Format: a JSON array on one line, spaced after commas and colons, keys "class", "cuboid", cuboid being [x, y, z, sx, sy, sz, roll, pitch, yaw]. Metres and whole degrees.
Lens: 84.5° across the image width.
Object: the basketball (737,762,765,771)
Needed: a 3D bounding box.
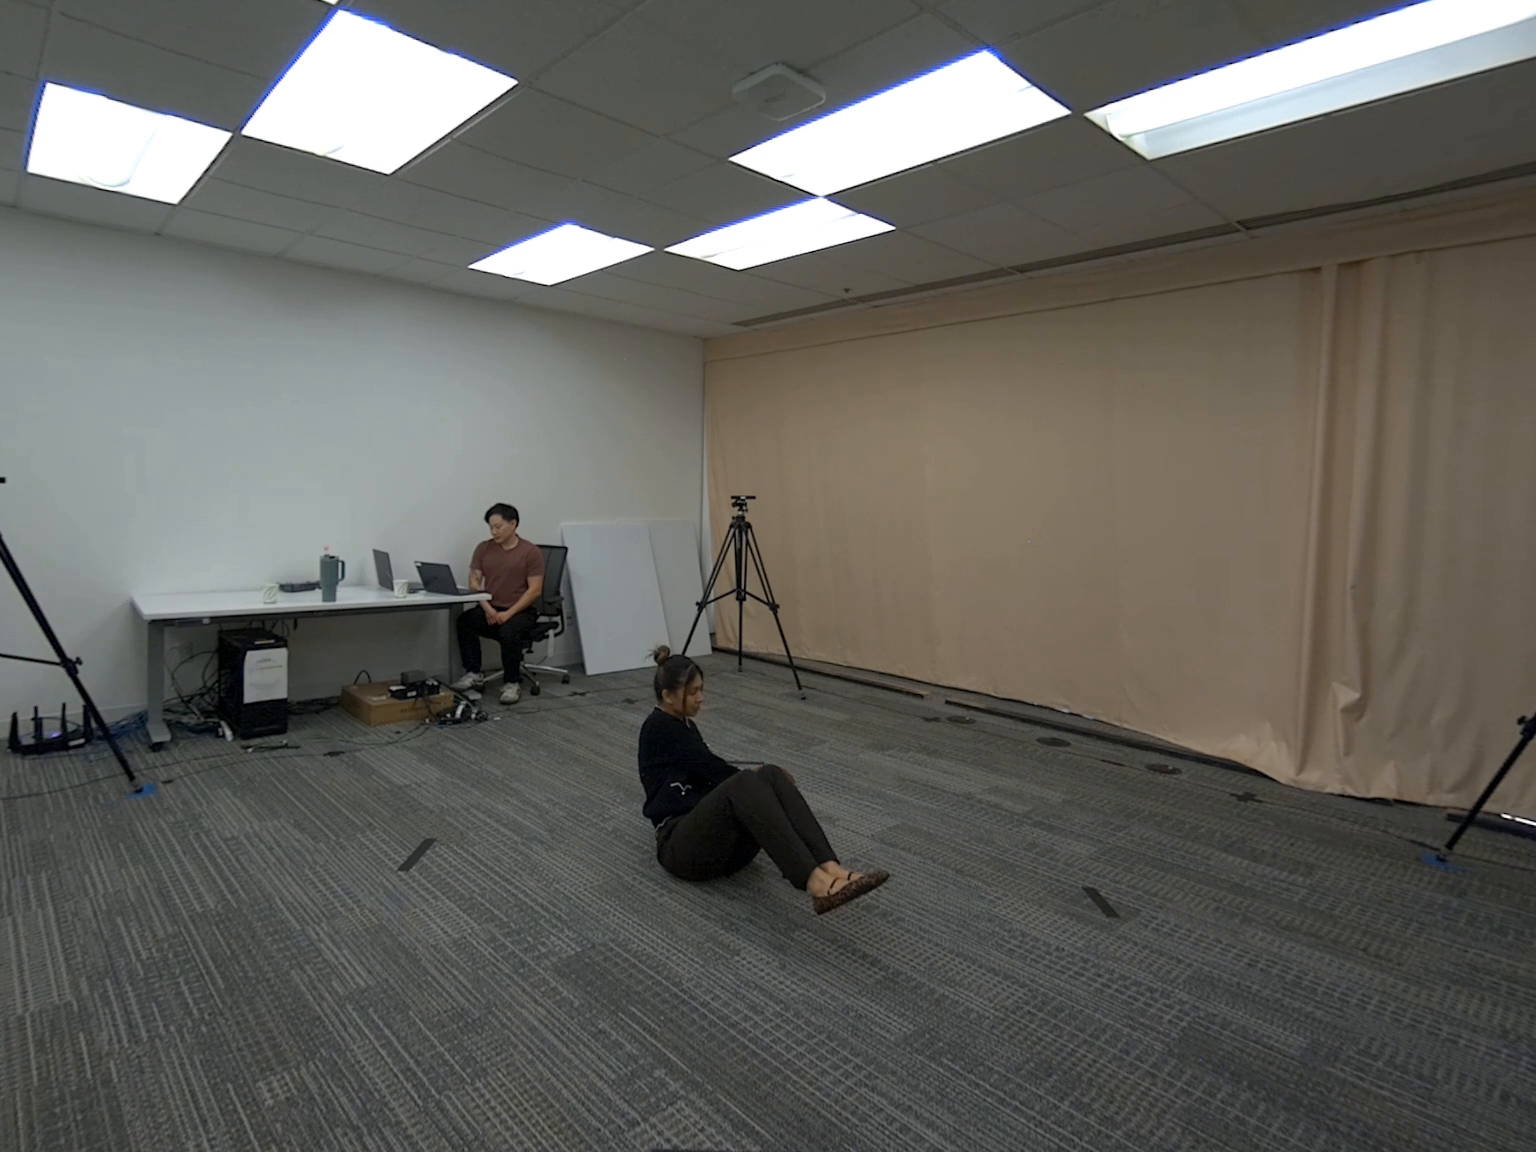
[{"class": "basketball", "cuboid": [0.006, 0.897, 3.506, 0.236, 0.235, 0.237, 1, 4, -1]}]
